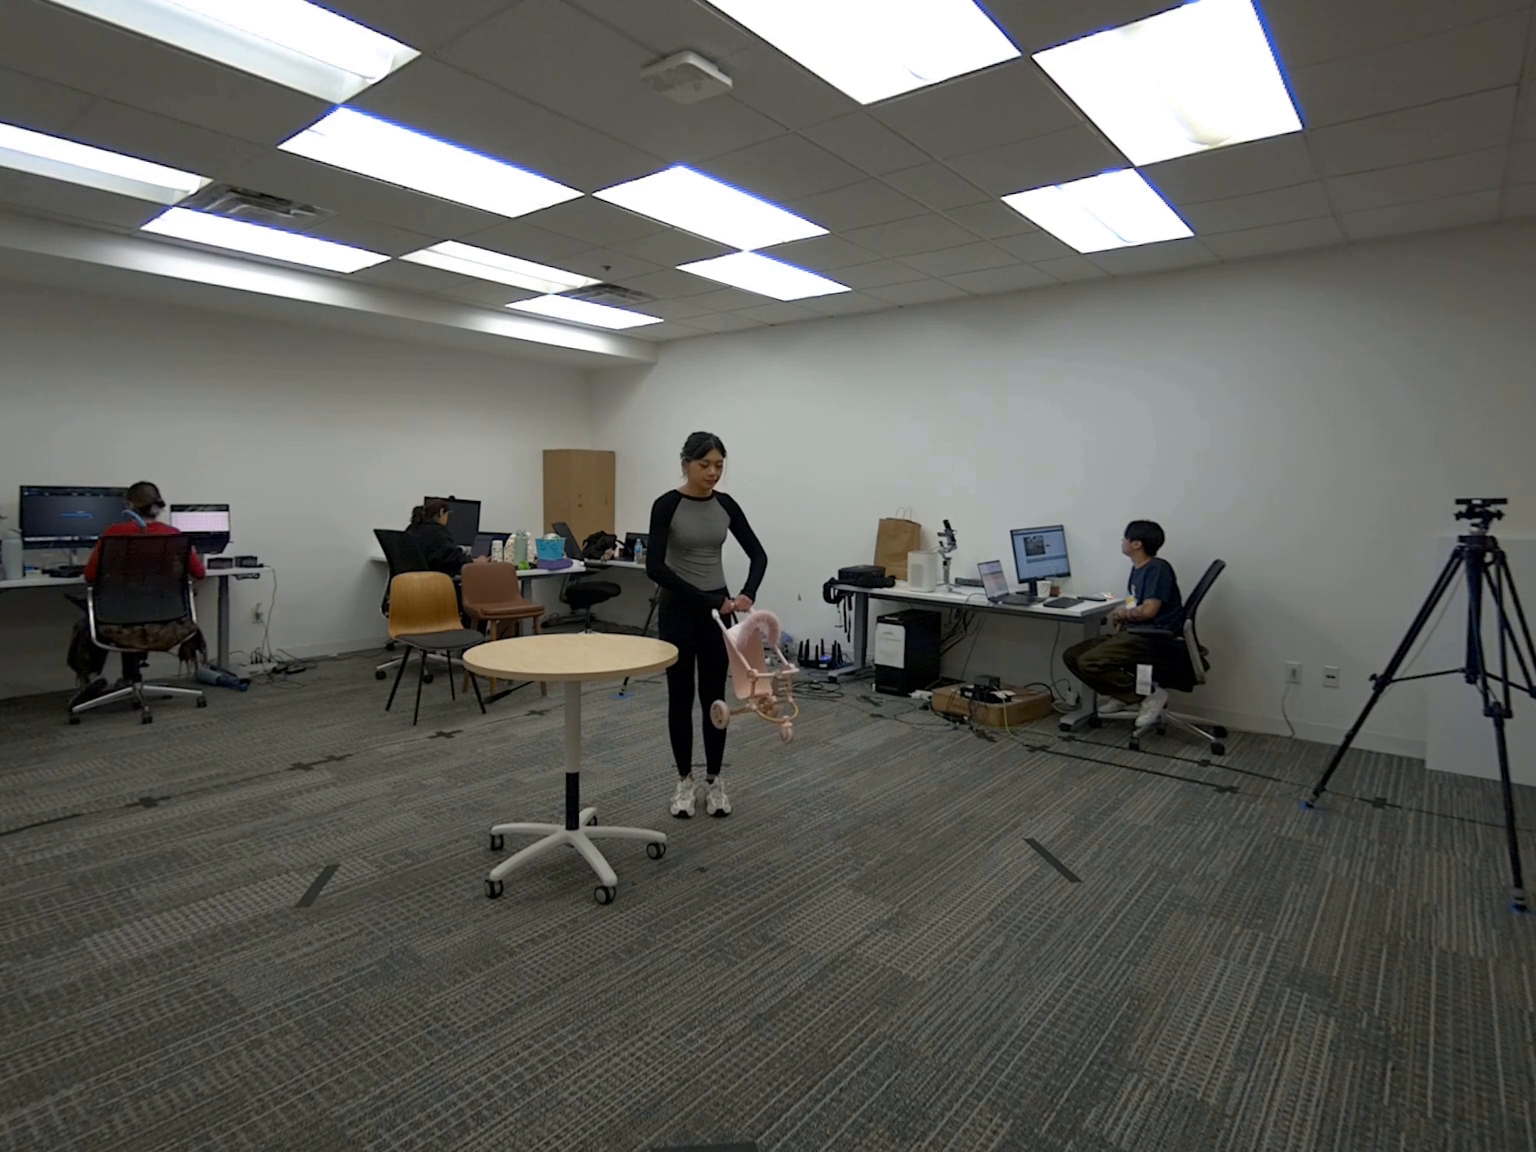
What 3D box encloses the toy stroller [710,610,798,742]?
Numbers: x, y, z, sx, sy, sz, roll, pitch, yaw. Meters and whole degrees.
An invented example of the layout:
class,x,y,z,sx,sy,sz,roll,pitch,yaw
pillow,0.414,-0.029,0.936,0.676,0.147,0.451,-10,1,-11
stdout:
class,x,y,z,sx,sy,sz,roll,pitch,yaw
toy stroller,-0.043,0.374,3.286,0.273,0.538,0.350,-1,-6,-36
